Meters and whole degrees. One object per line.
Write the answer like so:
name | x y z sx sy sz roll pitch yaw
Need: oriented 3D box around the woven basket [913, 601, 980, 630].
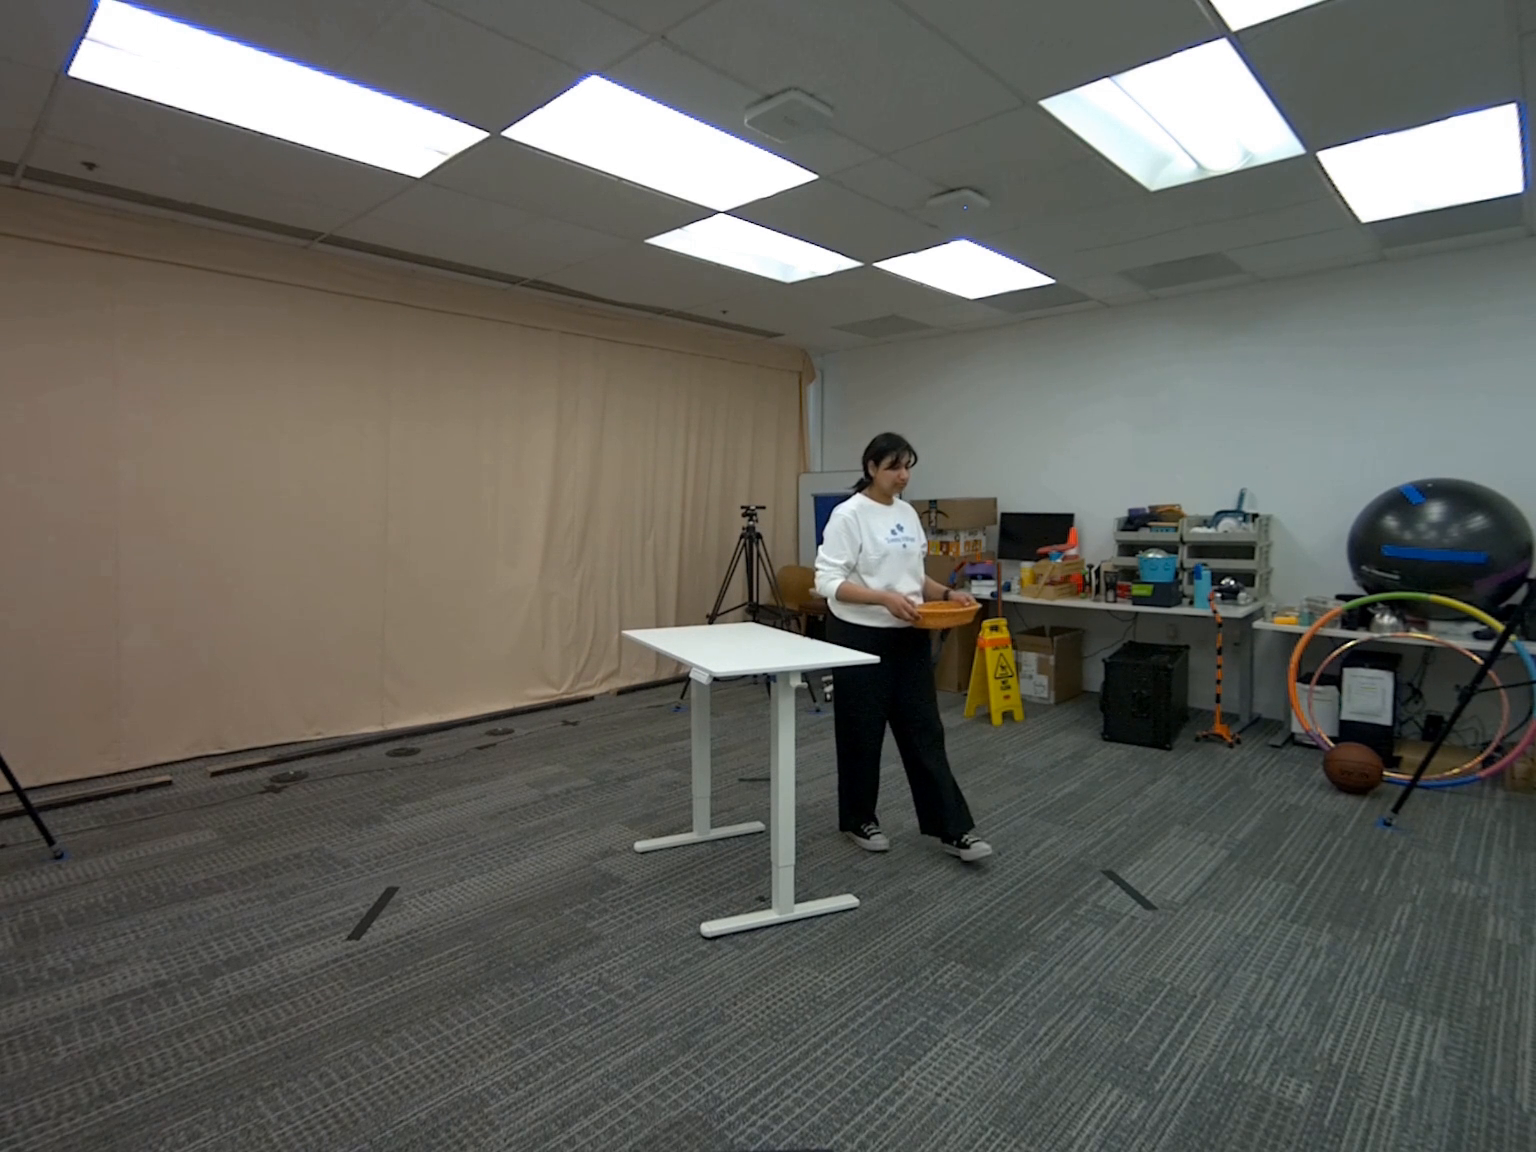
woven basket | 0.668 0.151 3.240 0.340 0.073 0.261 -6 6 -42
